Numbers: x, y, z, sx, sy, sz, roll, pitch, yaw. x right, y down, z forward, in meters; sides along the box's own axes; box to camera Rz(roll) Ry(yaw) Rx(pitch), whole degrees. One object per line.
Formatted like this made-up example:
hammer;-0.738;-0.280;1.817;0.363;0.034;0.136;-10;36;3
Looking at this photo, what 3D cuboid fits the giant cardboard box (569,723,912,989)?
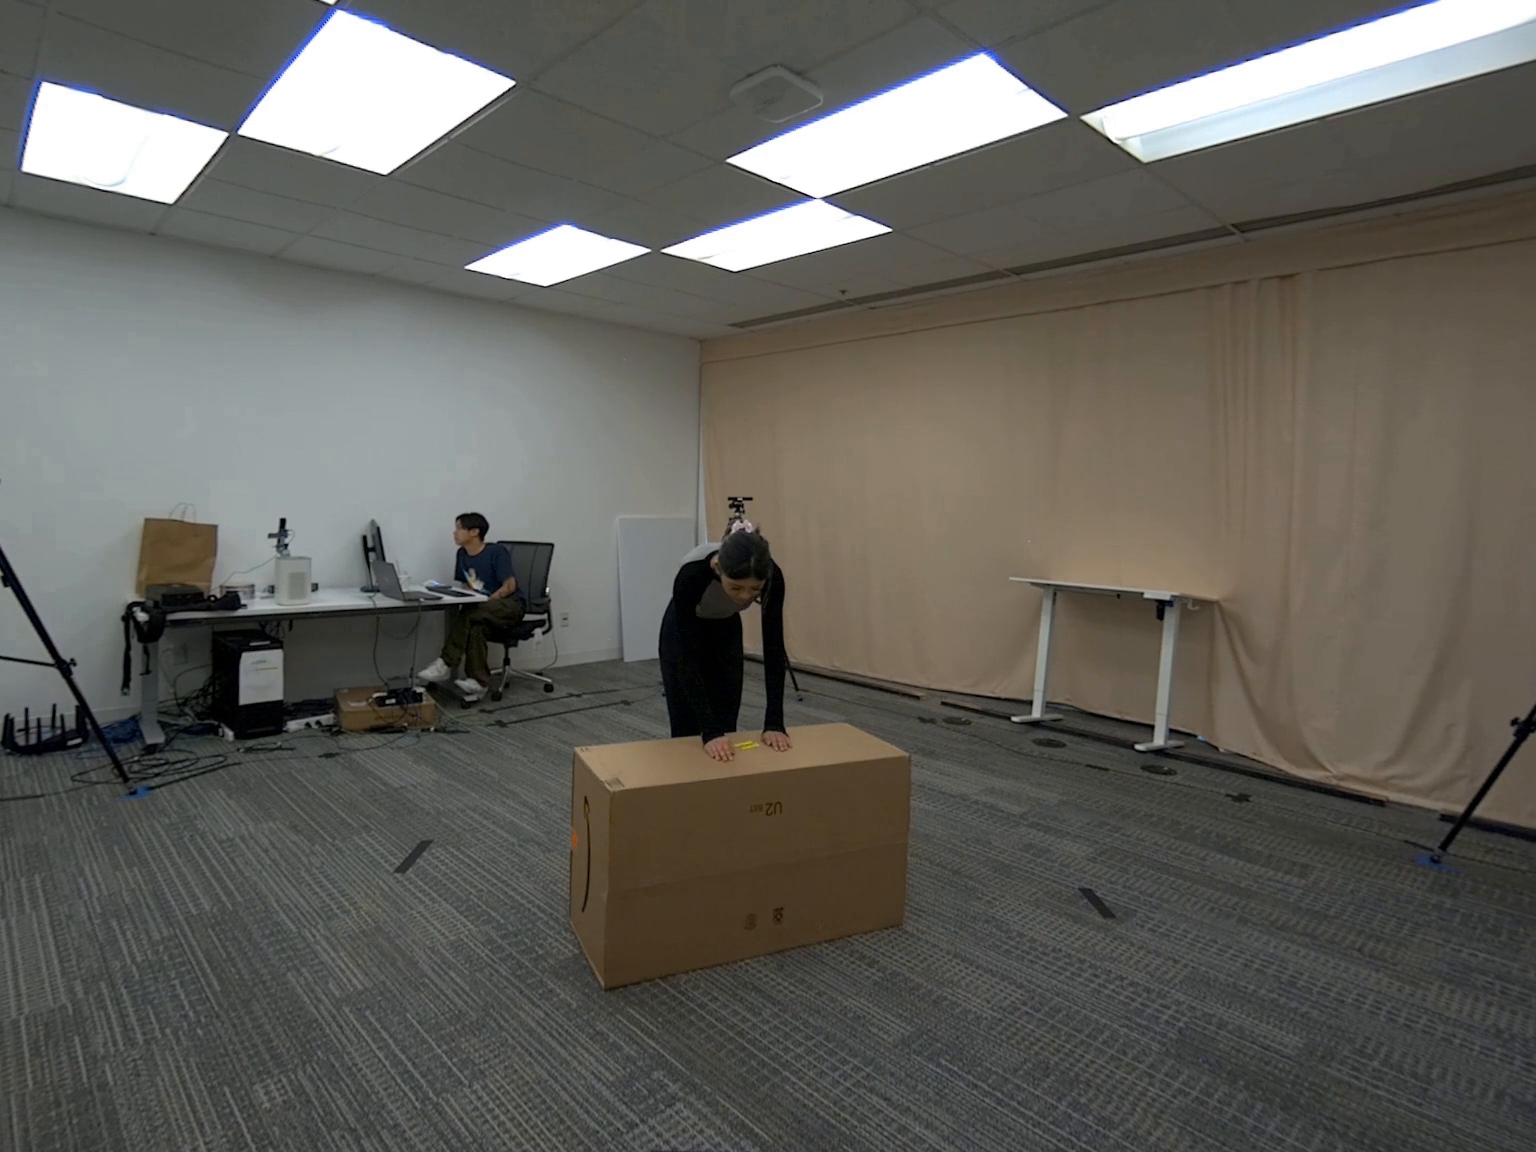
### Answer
giant cardboard box;-0.092;0.855;2.741;1.008;0.576;0.435;0;4;-24
